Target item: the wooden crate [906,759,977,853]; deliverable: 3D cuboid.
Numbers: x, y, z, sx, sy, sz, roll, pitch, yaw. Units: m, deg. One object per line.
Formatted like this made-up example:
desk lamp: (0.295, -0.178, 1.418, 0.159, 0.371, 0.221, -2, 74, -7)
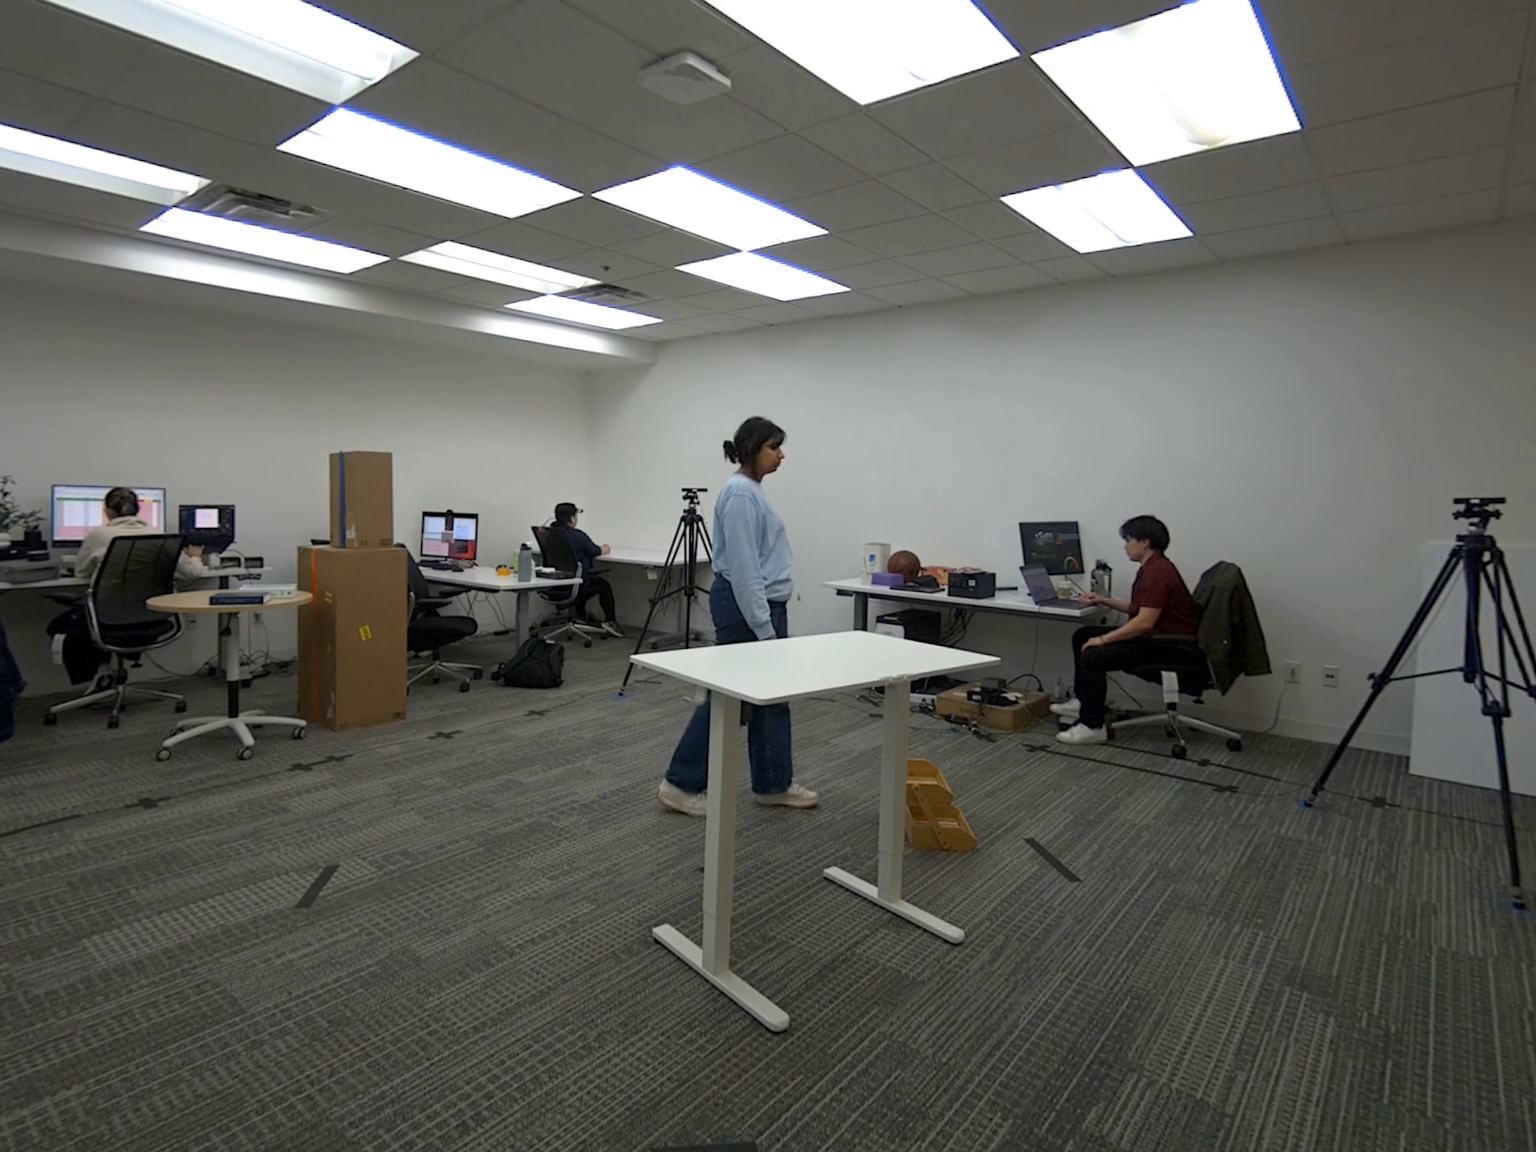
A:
wooden crate: (0.676, 0.921, 3.481, 0.303, 0.272, 0.325, 1, 5, 2)
